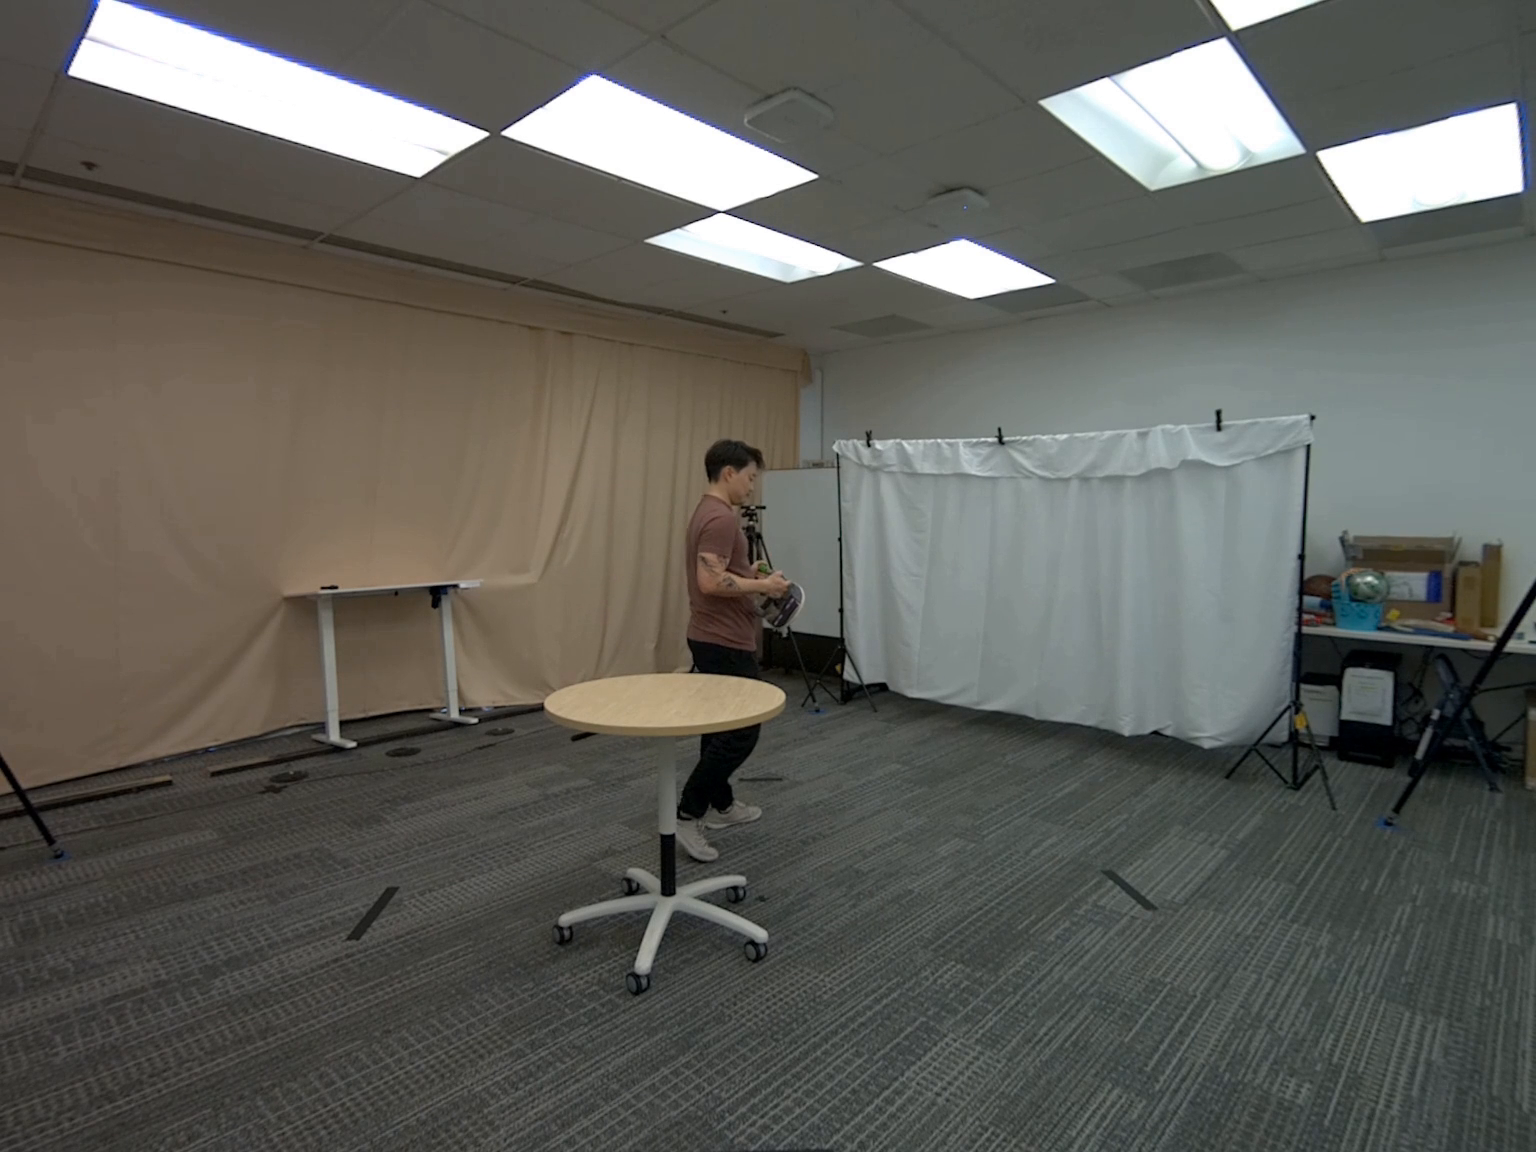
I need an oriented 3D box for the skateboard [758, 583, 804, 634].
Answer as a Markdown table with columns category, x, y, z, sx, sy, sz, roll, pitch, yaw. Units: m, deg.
| category | x | y | z | sx | sy | sz | roll | pitch | yaw |
| --- | --- | --- | --- | --- | --- | --- | --- | --- | --- |
| skateboard | 0.014 | 0.068 | 3.591 | 0.109 | 0.193 | 0.797 | 31 | 1 | -13 |
